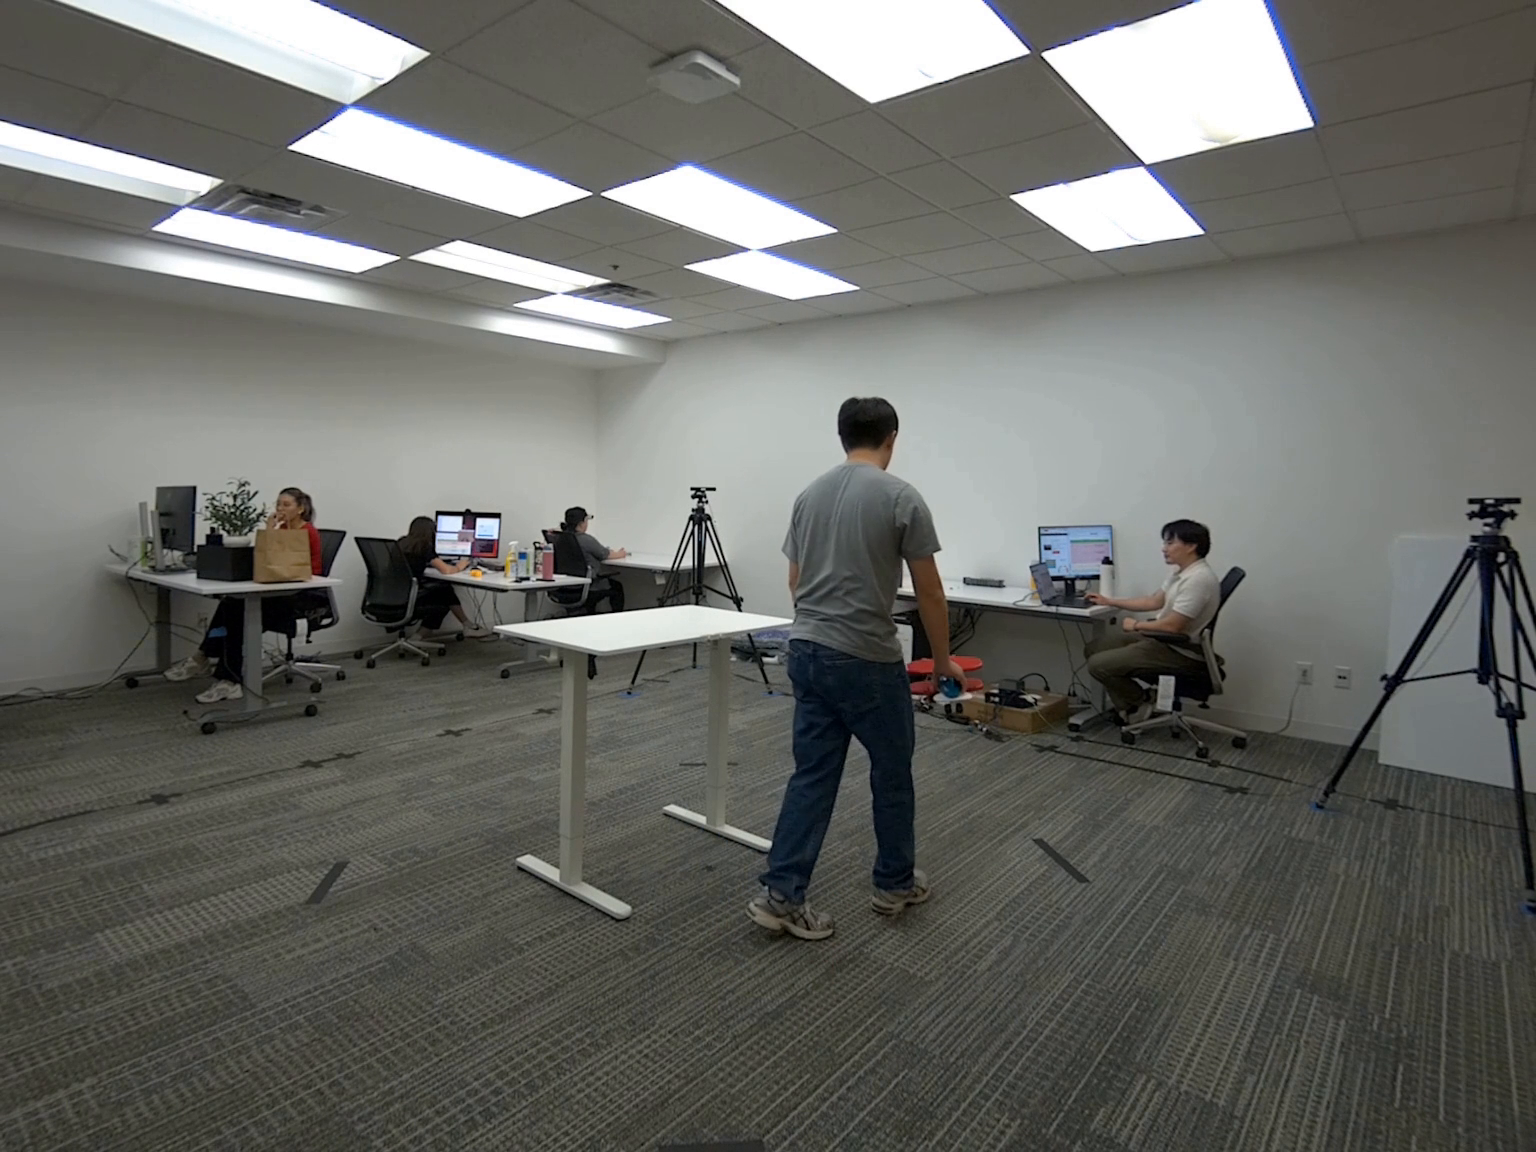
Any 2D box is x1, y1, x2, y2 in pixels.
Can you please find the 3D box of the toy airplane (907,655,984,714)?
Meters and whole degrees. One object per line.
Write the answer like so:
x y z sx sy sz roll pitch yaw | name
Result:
0.603 0.366 2.846 0.246 0.156 0.265 -8 4 -24 | toy airplane
